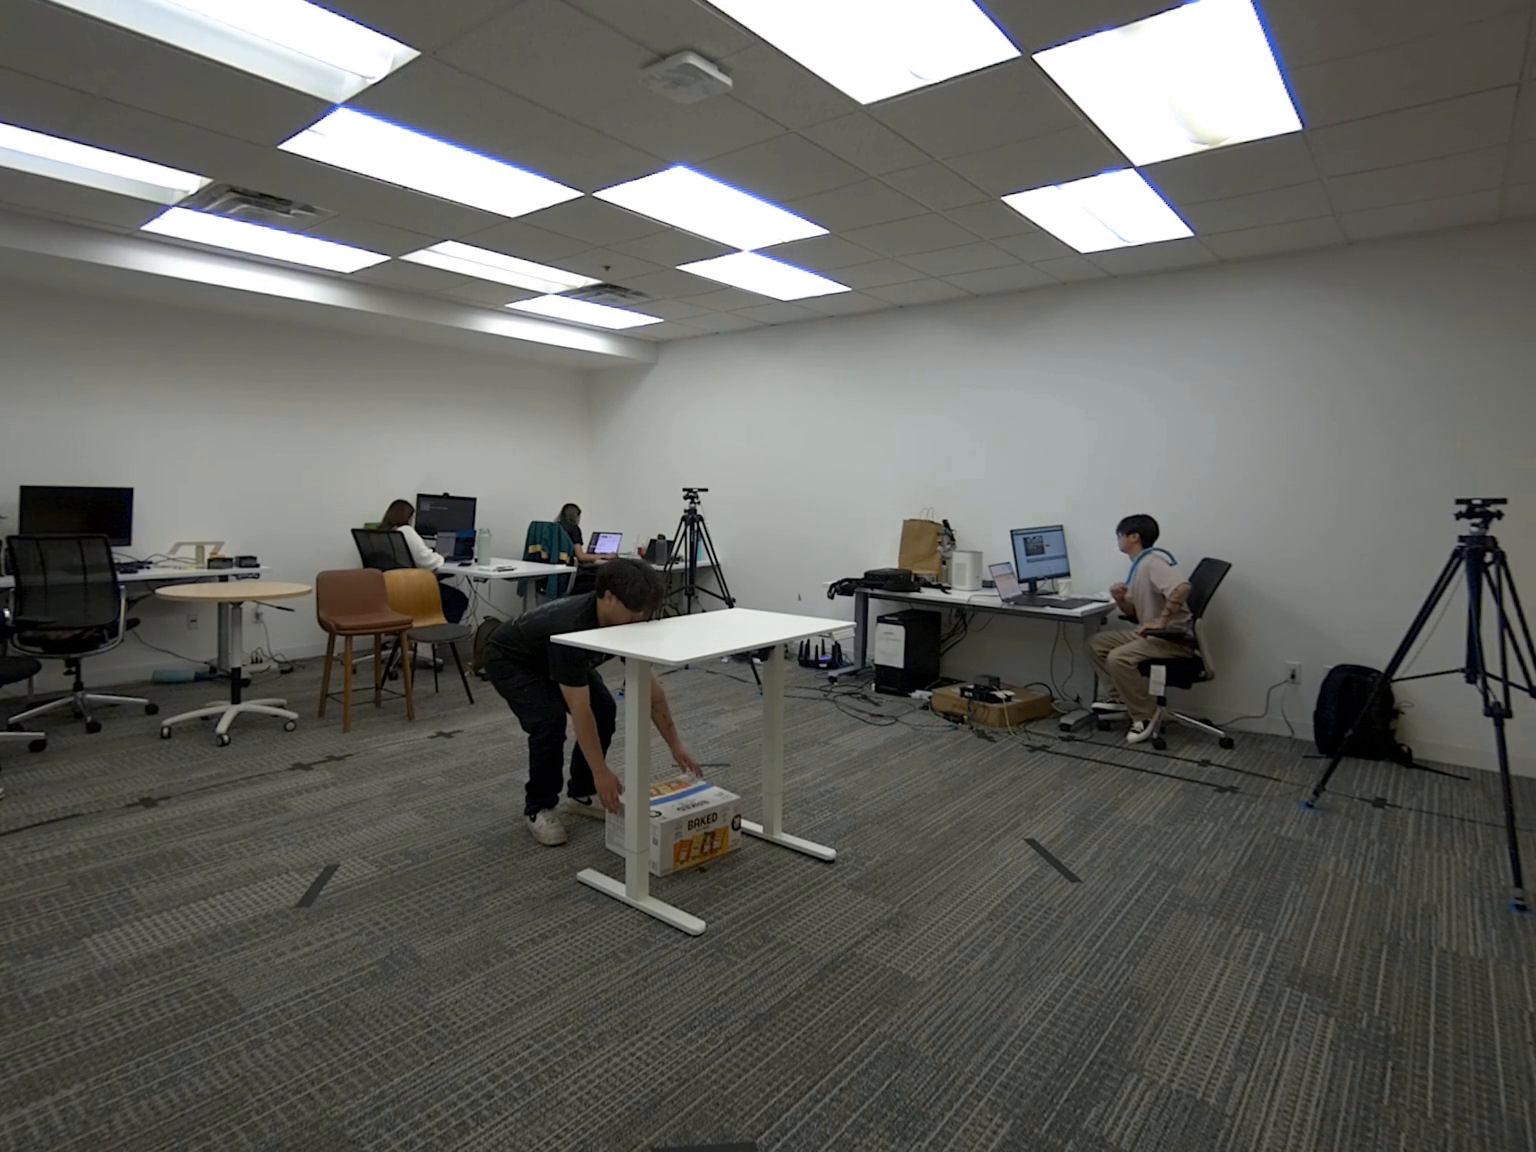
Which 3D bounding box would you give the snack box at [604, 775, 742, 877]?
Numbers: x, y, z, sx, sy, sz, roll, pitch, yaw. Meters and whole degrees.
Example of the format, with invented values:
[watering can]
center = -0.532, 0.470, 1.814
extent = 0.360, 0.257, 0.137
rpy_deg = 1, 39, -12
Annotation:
[snack box]
center = -0.373, 0.950, 3.278
extent = 0.393, 0.205, 0.352
rpy_deg = -4, 7, -45
